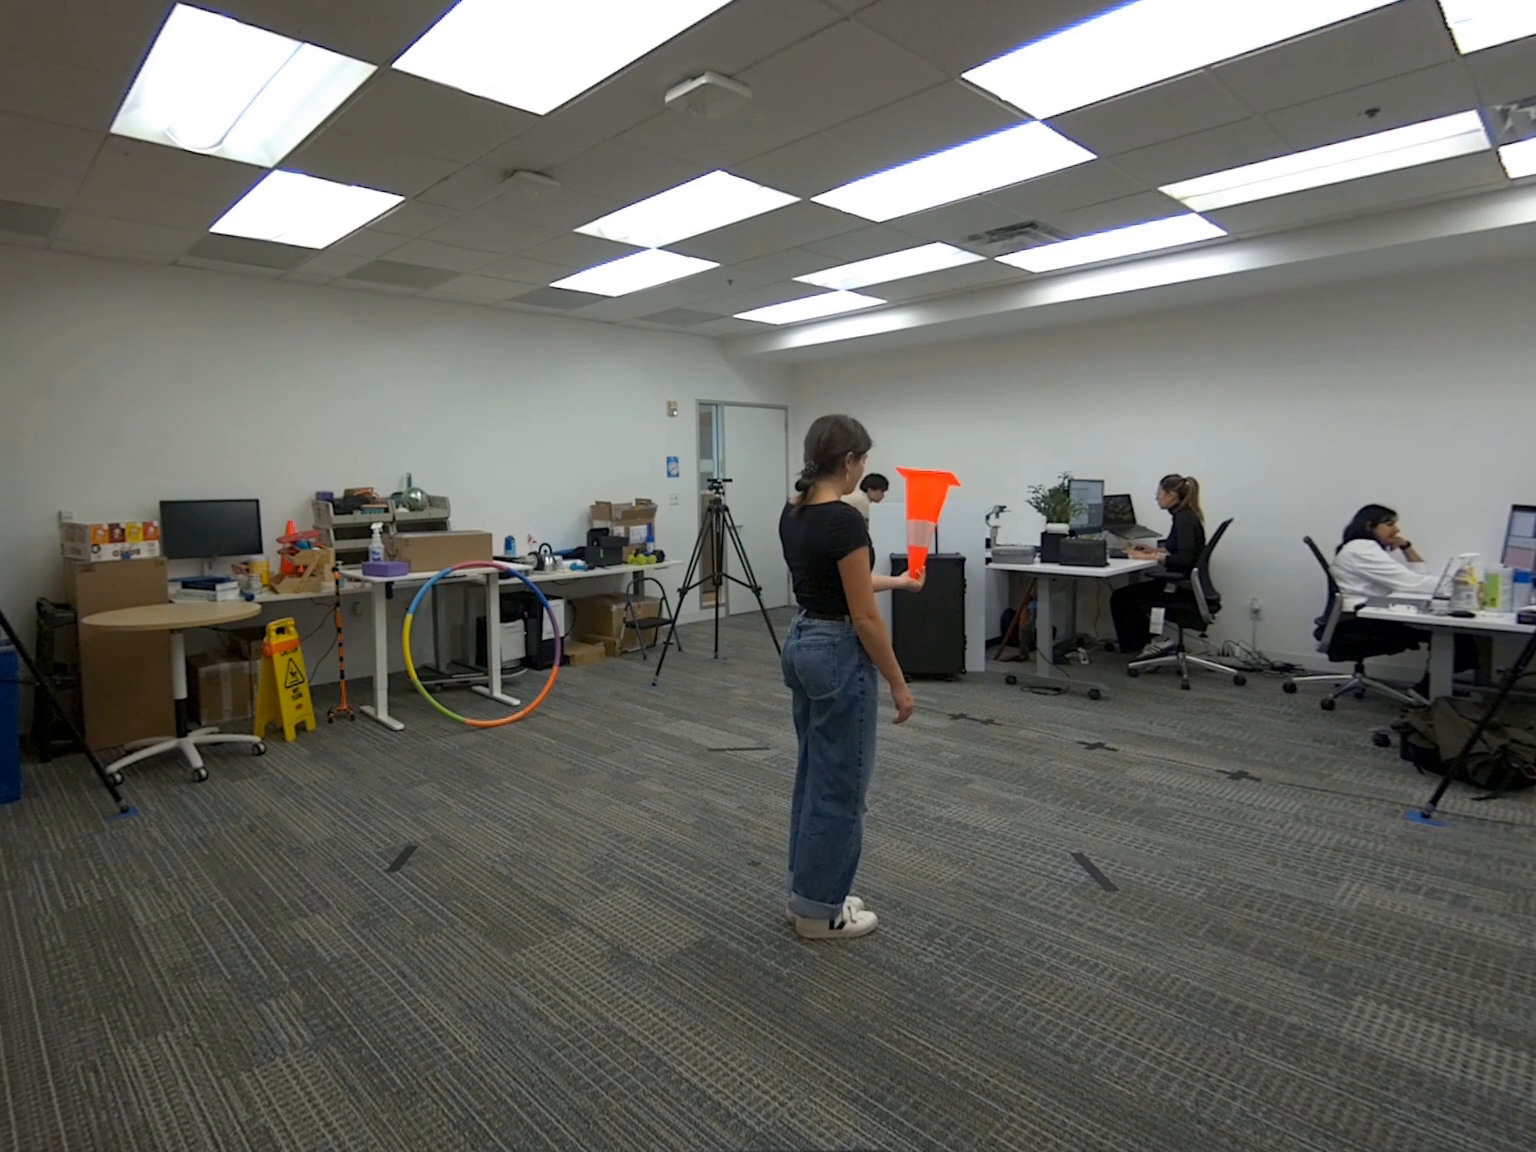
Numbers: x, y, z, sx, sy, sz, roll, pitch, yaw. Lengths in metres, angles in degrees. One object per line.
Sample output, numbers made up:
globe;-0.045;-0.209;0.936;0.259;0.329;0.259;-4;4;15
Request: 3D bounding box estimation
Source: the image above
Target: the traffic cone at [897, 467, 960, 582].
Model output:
traffic cone;0.543;-0.161;2.991;0.210;0.386;0.197;6;-8;25
